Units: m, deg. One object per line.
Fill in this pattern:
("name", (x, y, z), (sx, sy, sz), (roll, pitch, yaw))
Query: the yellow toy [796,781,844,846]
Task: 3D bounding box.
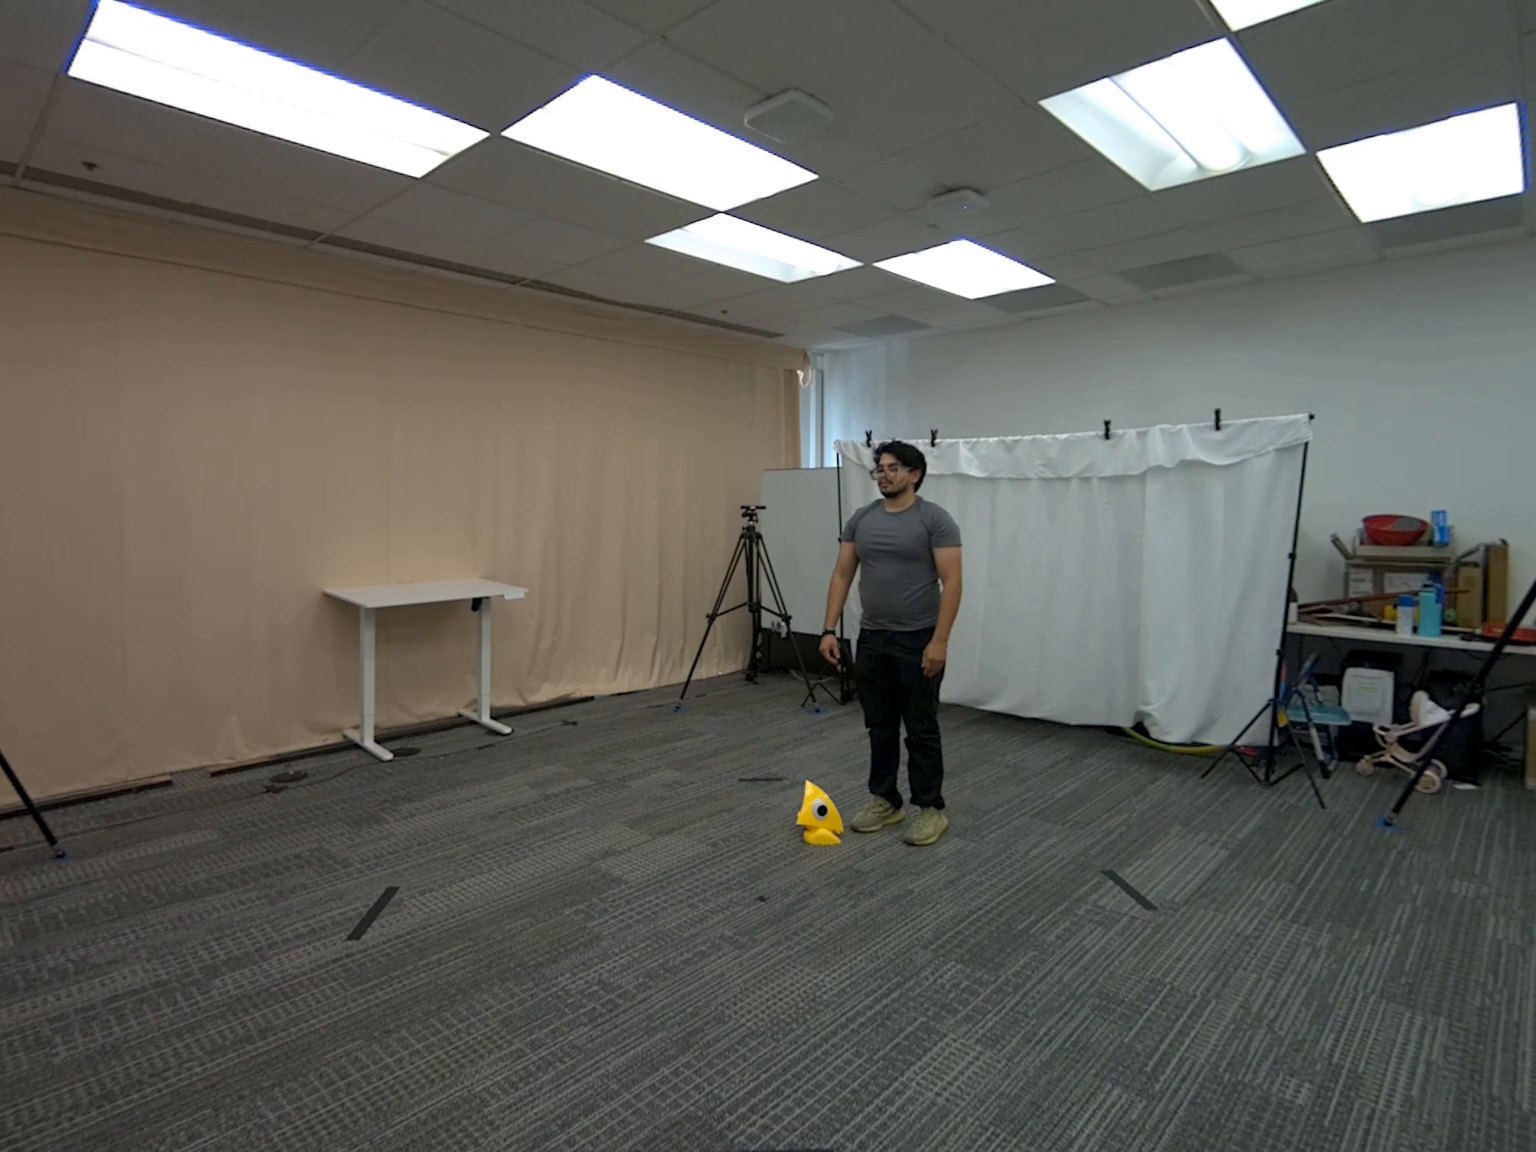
("yellow toy", (0.229, 0.982, 3.551), (0.195, 0.230, 0.203), (1, 3, 10))
